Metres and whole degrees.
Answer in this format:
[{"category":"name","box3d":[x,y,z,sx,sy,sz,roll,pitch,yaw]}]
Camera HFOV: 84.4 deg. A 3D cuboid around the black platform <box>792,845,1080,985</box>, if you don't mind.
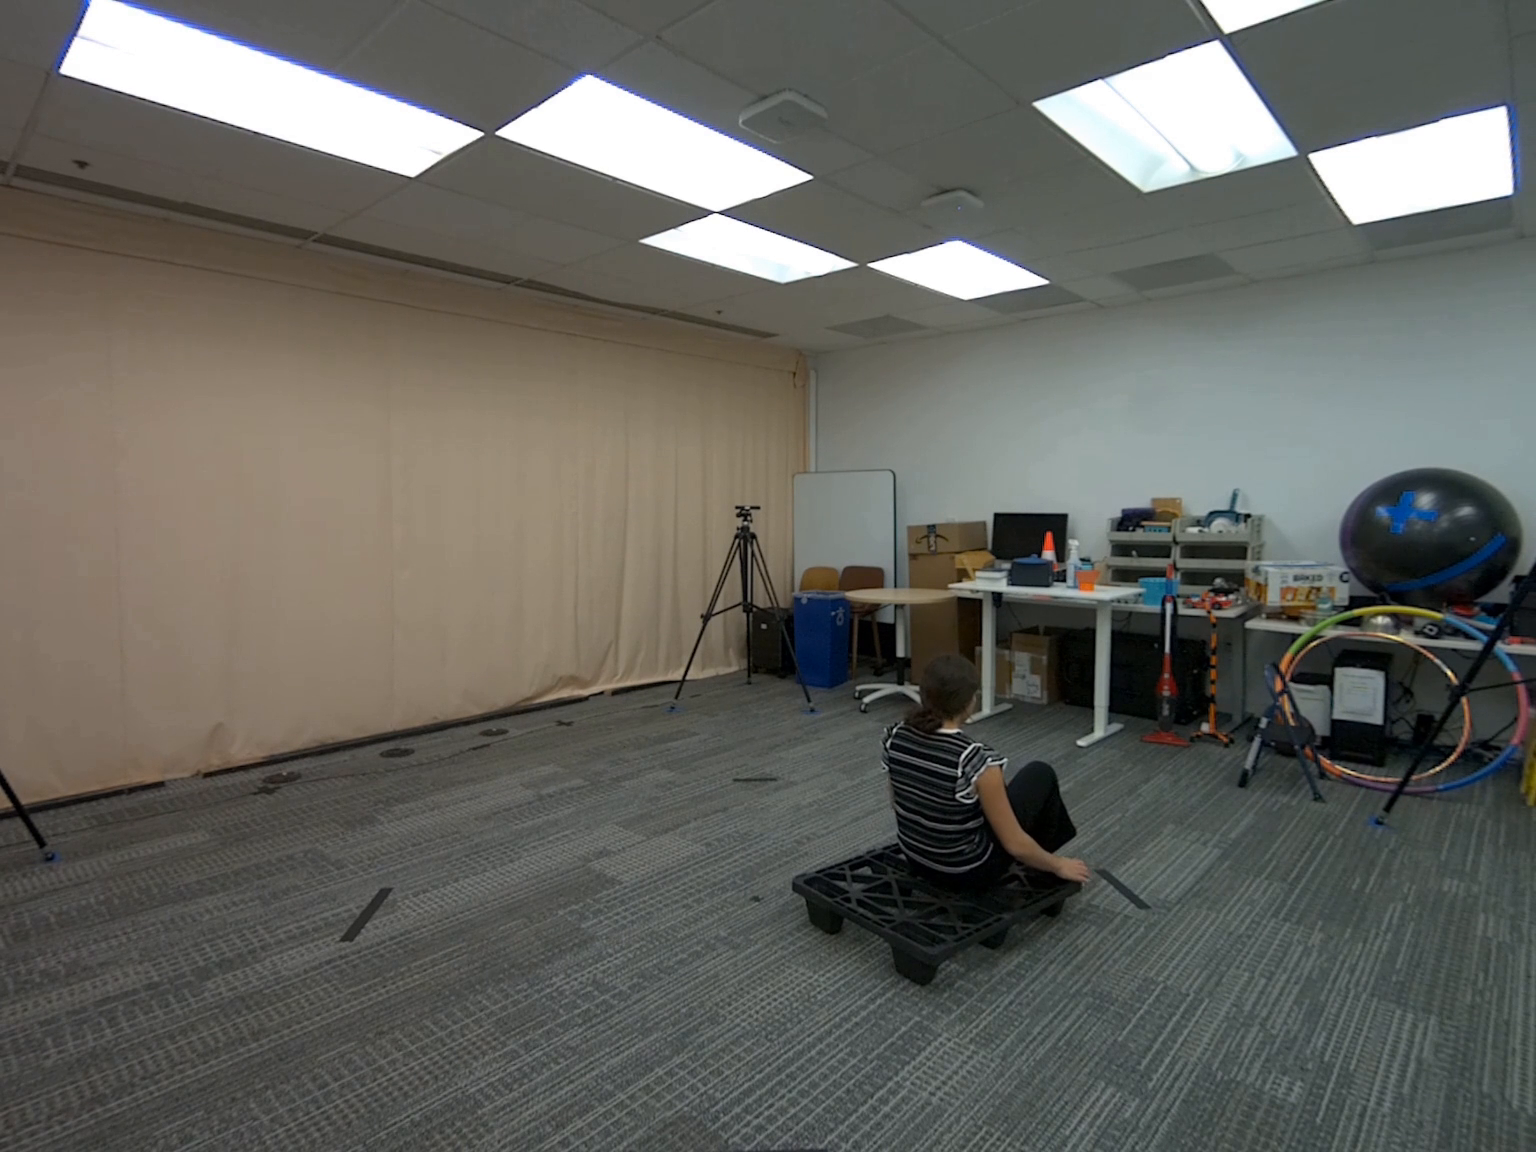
[{"category":"black platform","box3d":[0.574,1.087,2.830,0.781,0.143,0.625,-3,7,-39]}]
